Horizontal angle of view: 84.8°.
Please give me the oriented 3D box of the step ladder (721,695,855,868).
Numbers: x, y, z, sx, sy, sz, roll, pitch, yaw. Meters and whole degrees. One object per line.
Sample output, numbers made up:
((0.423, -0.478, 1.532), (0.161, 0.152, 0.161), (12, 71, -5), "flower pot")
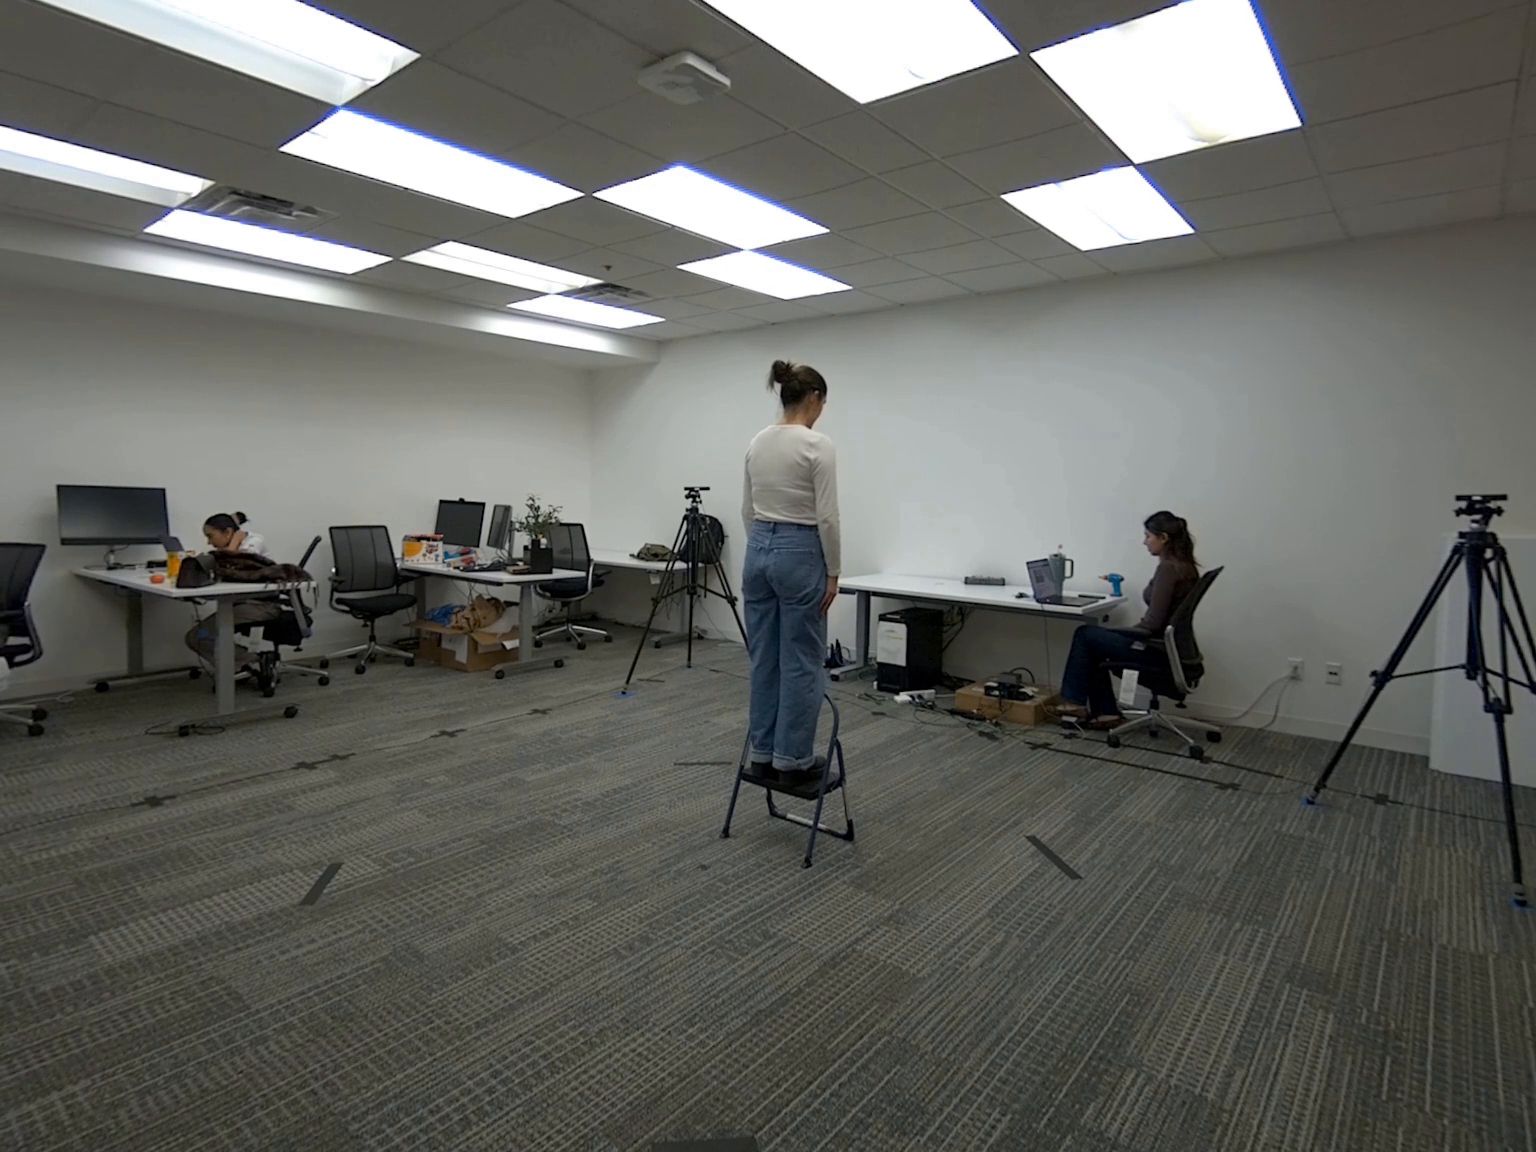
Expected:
((0.078, 0.740, 3.375), (0.445, 0.604, 0.339), (4, 4, 38), "step ladder")
